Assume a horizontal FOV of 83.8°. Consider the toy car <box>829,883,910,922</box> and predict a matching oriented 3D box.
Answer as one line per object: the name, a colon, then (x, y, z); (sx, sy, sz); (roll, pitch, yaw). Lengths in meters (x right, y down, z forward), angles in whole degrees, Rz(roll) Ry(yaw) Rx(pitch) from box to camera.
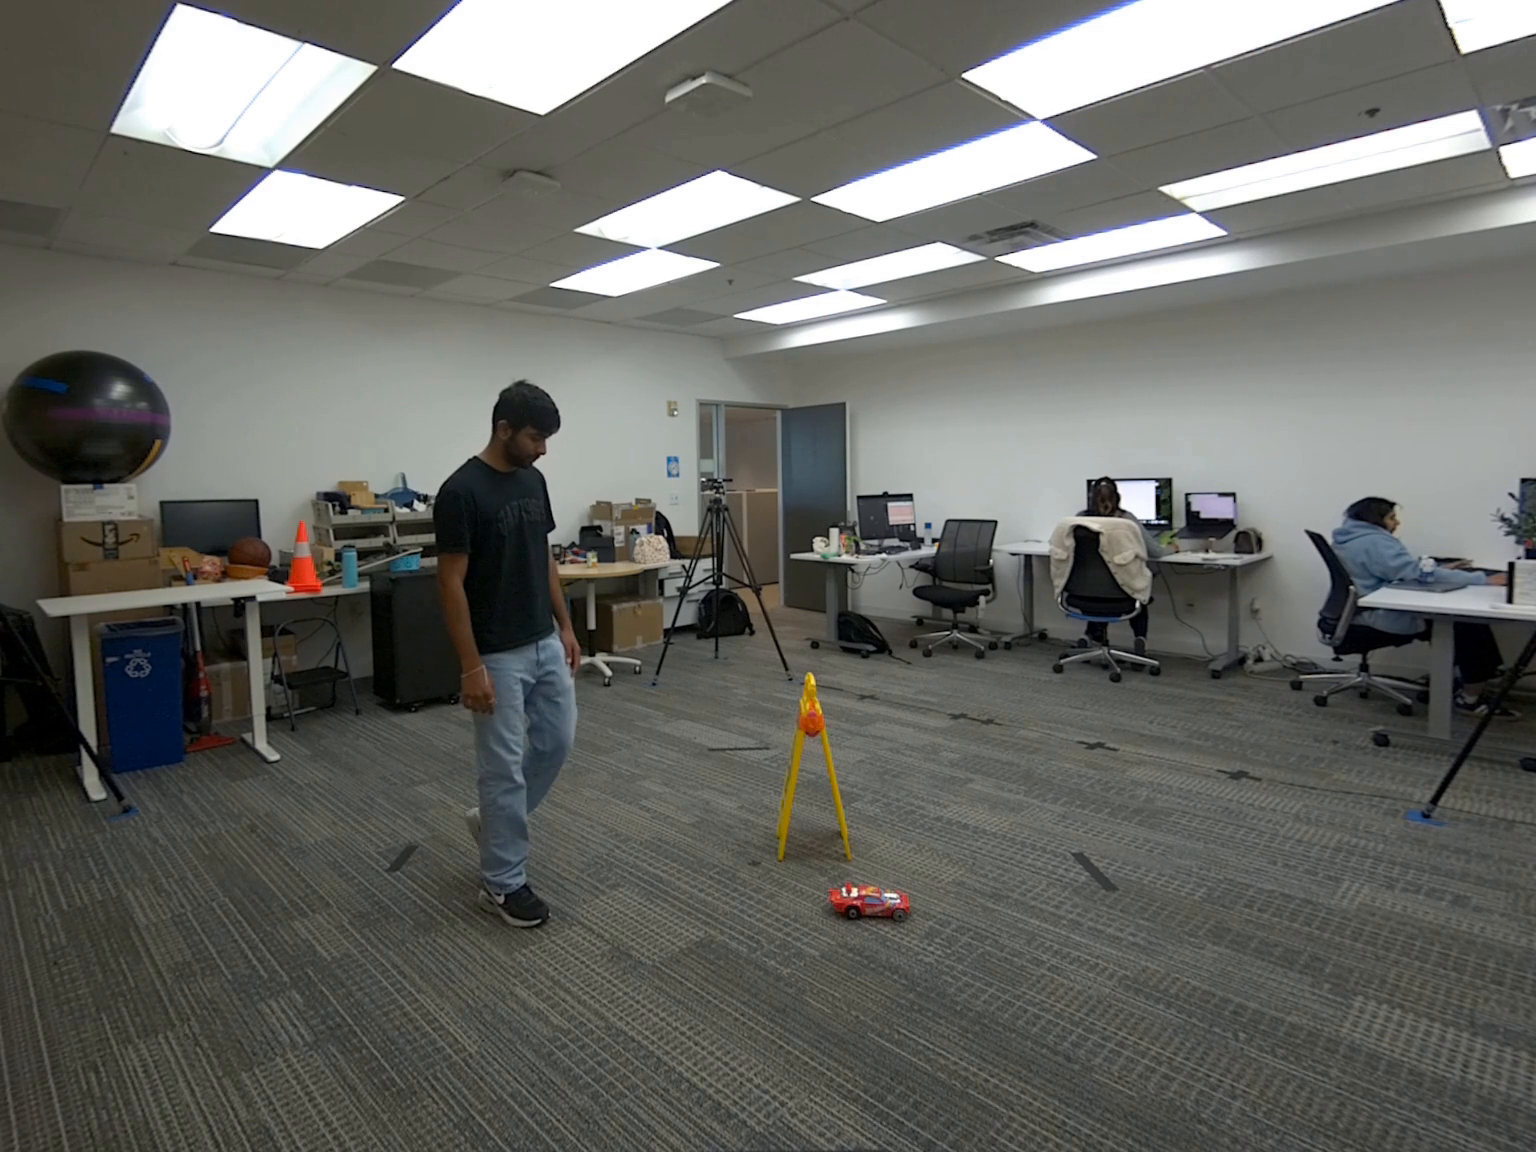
toy car: (0.322, 1.043, 2.734); (0.256, 0.083, 0.130); (10, 6, 4)
